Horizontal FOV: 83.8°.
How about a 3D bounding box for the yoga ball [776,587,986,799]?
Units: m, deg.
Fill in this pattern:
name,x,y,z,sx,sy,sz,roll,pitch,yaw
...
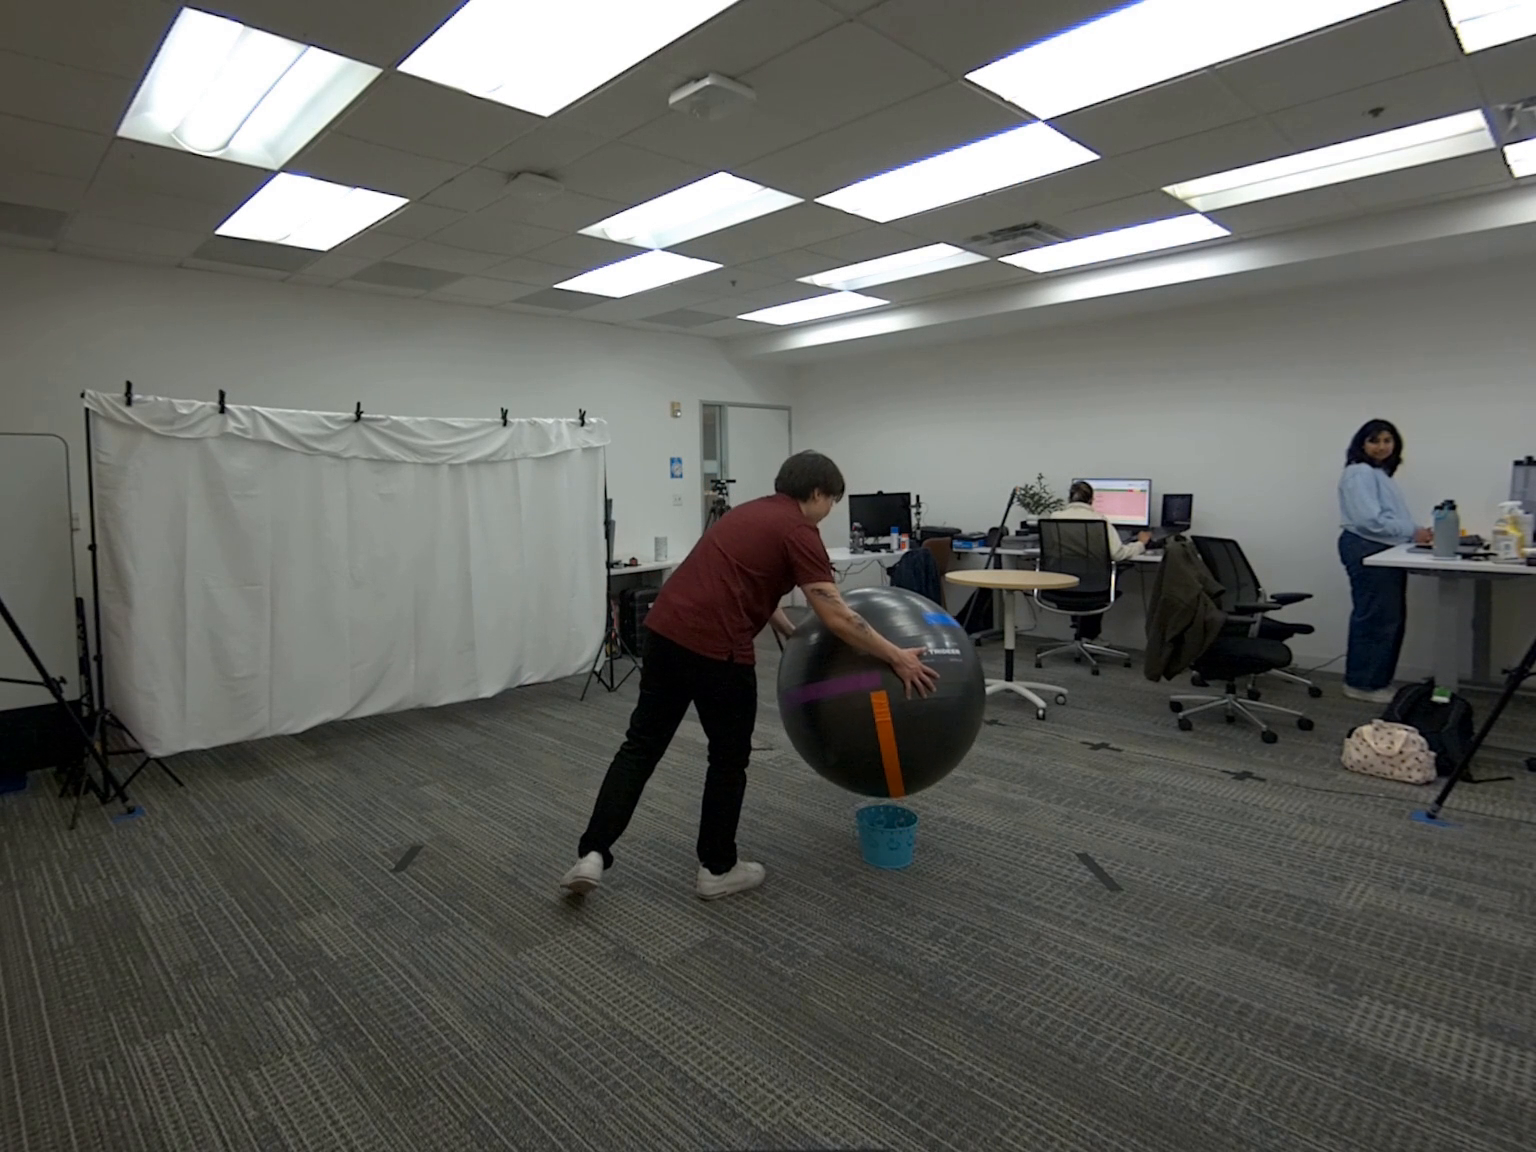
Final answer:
name,x,y,z,sx,sy,sz,roll,pitch,yaw
yoga ball,0.412,0.419,3.160,0.757,0.755,0.762,-1,5,-2
